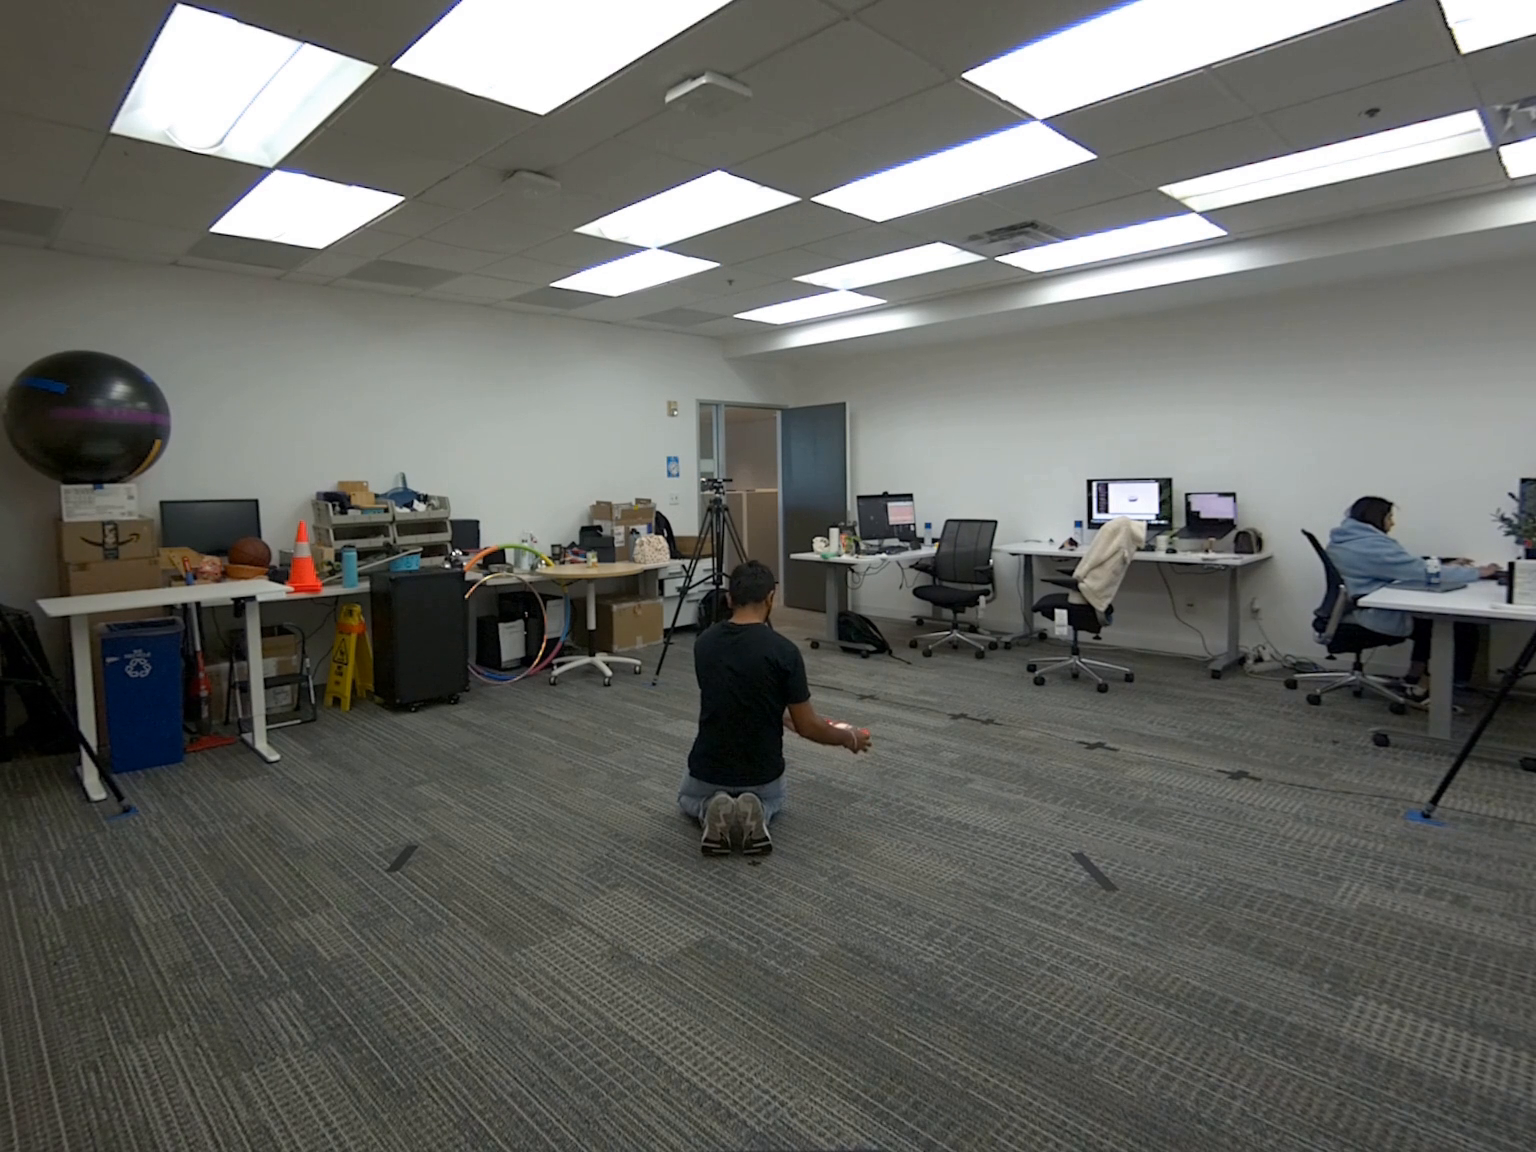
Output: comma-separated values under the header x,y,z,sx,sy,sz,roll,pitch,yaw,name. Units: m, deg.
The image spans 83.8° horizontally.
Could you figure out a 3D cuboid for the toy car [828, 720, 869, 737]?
x,y,z,sx,sy,sz,roll,pitch,yaw,name
0.292,0.660,3.558,0.263,0.082,0.128,15,23,43,toy car
